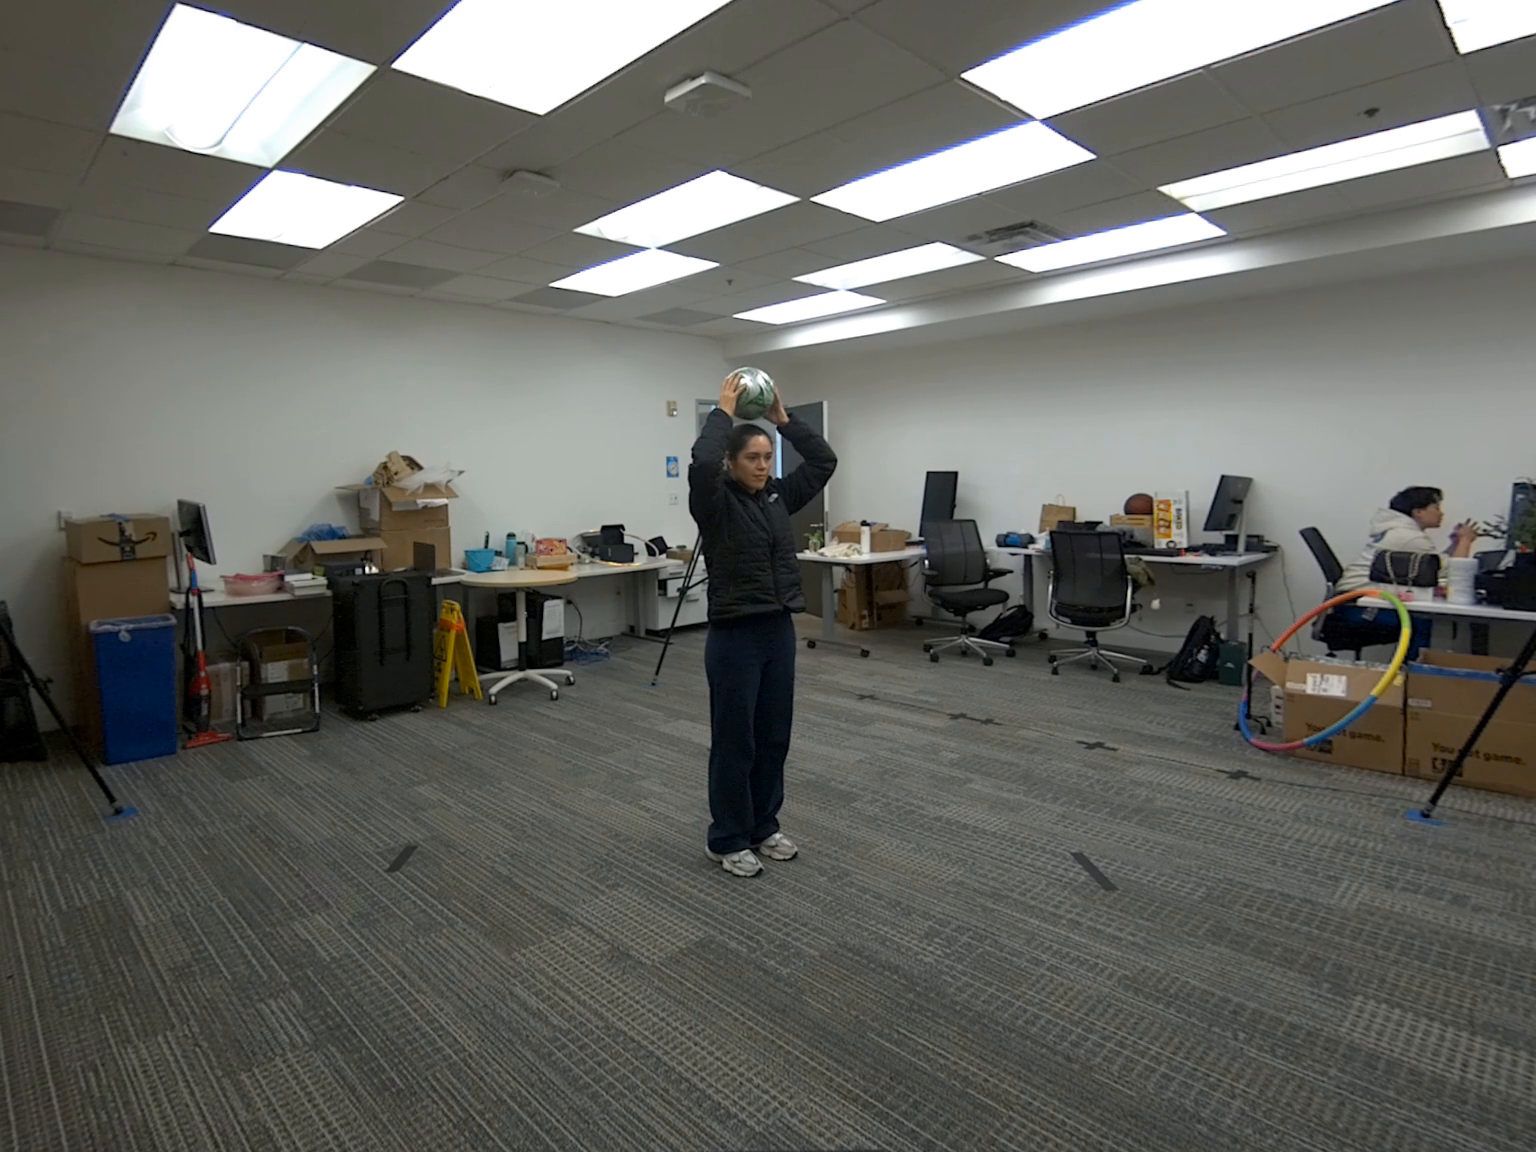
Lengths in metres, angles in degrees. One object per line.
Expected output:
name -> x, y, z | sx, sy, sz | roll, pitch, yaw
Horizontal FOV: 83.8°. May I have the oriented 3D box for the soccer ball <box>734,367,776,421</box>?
soccer ball -> -0.071, -0.647, 3.050 | 0.187, 0.187, 0.188 | -1, 5, -2
